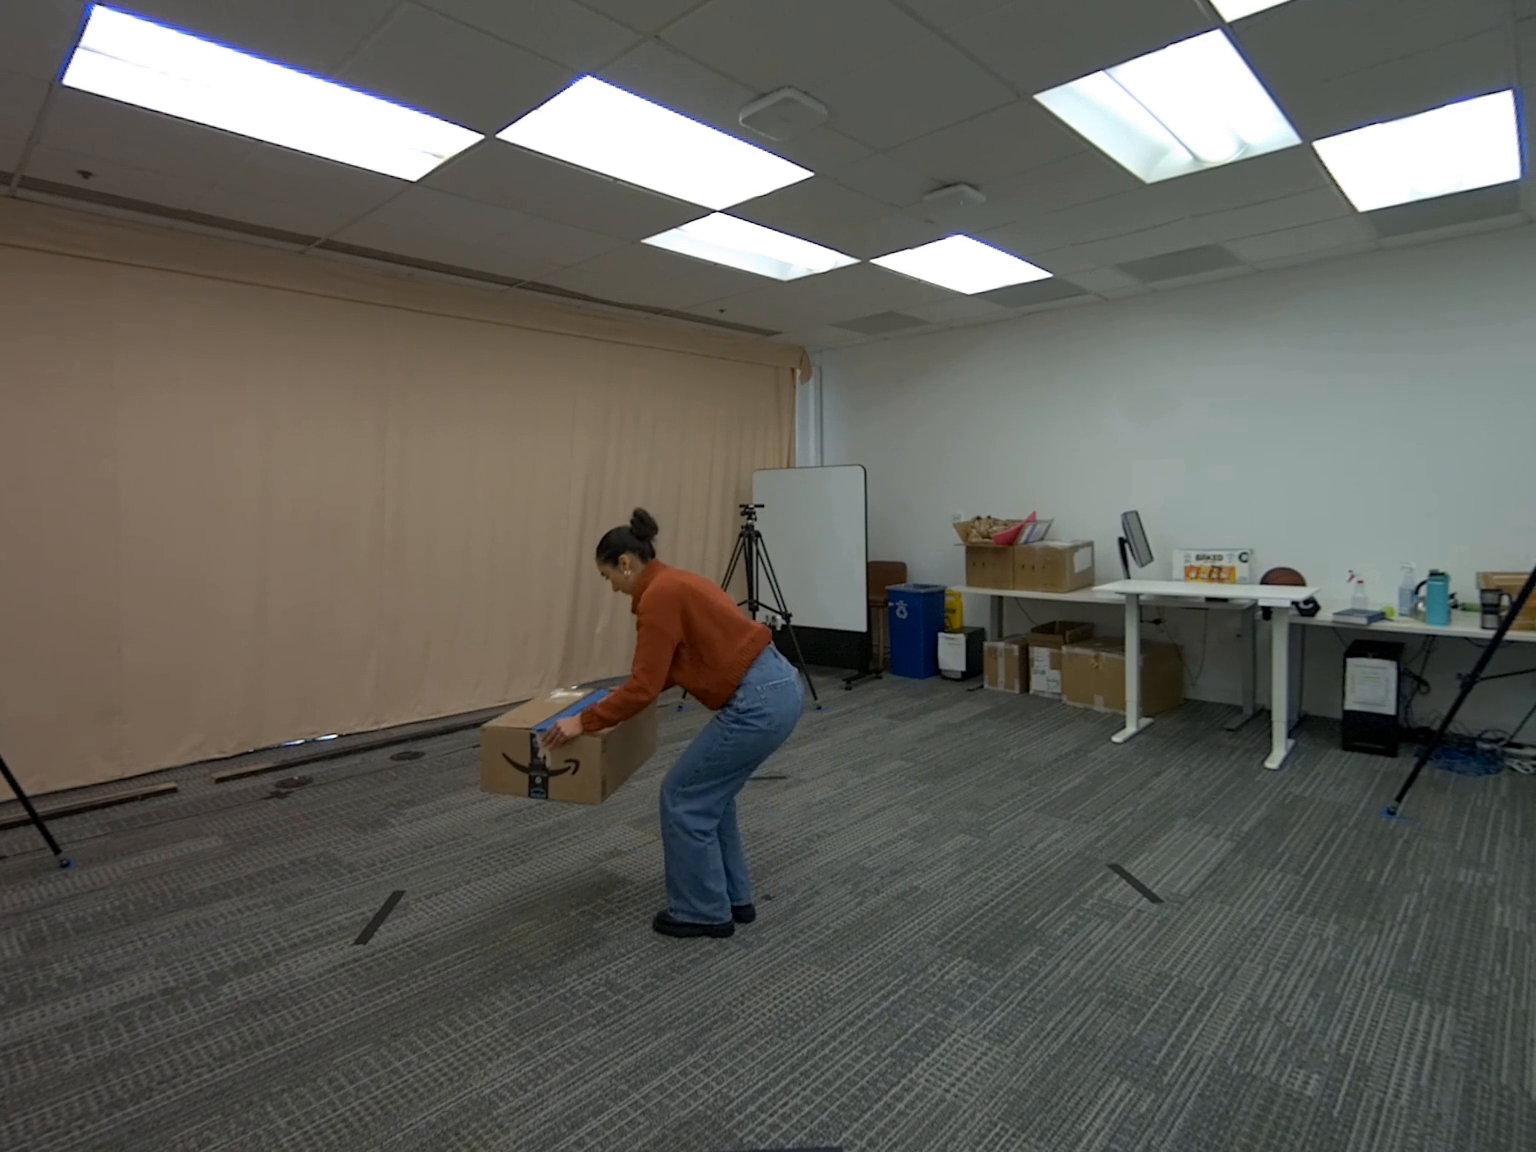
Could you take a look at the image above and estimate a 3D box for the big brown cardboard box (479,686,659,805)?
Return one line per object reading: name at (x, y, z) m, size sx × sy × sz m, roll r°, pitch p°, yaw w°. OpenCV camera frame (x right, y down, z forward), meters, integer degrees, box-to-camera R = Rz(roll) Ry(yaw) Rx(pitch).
big brown cardboard box at (-0.659, 0.568, 2.909) m, size 0.424 × 0.232 × 0.582 m, roll 2°, pitch 6°, yaw 12°
